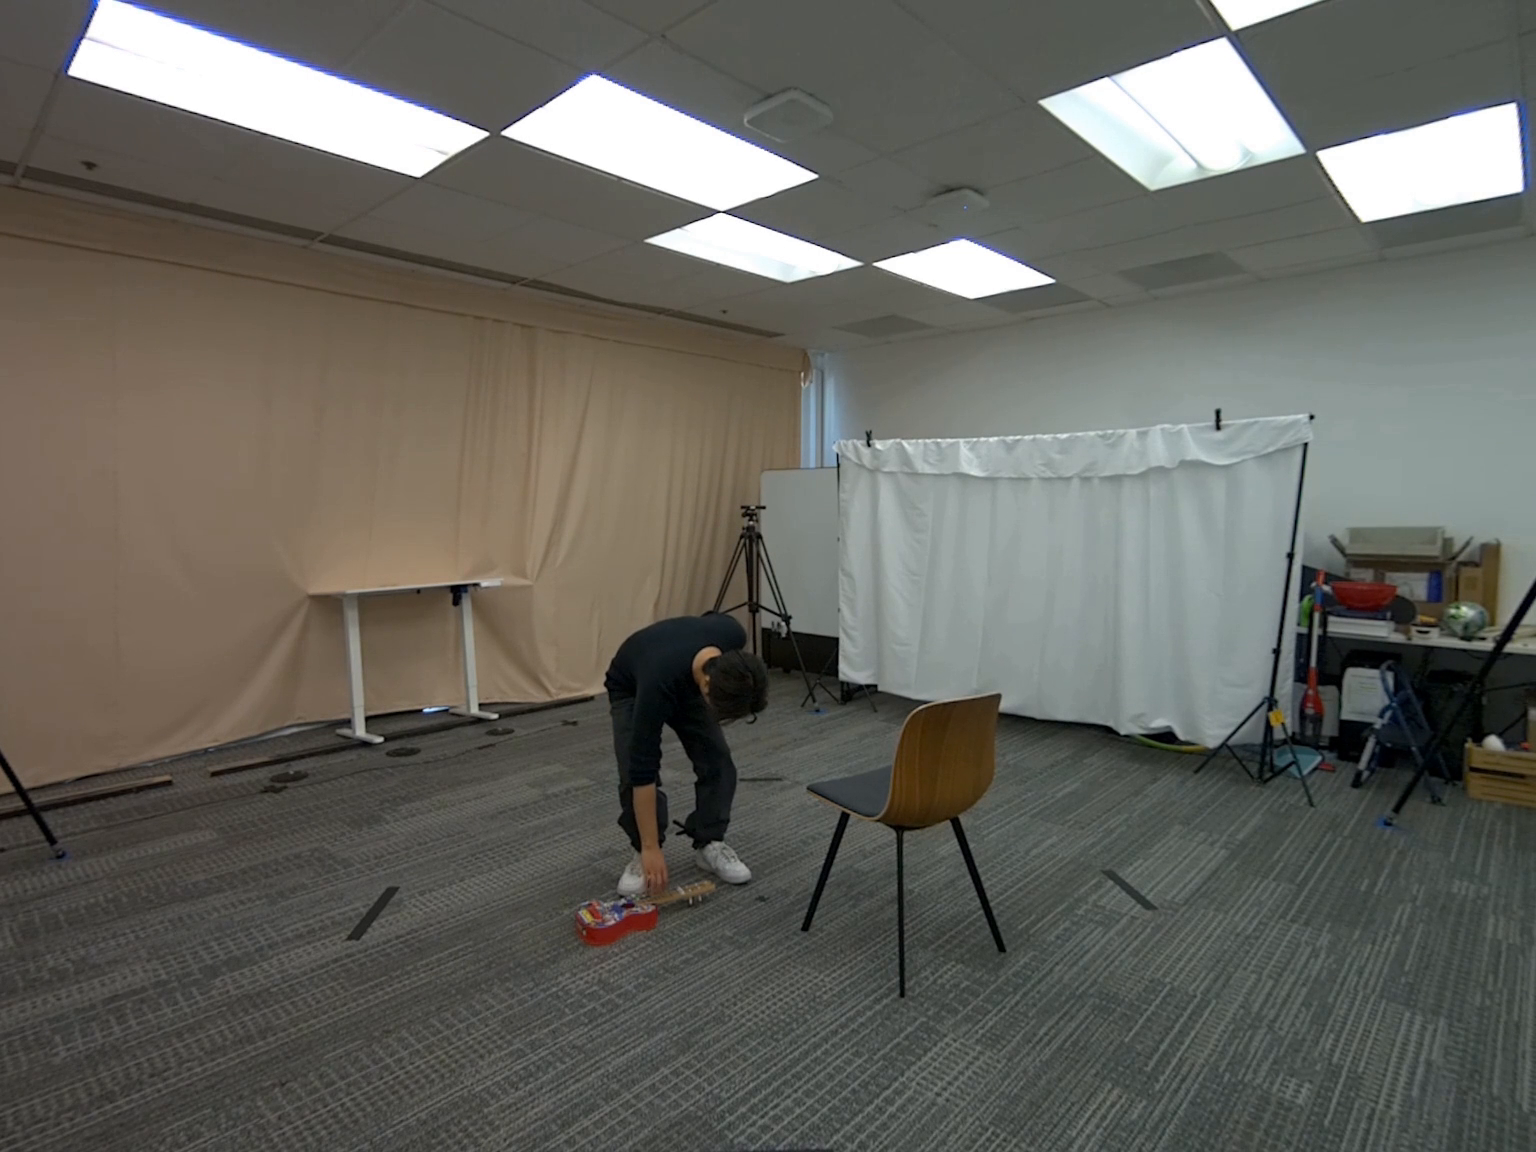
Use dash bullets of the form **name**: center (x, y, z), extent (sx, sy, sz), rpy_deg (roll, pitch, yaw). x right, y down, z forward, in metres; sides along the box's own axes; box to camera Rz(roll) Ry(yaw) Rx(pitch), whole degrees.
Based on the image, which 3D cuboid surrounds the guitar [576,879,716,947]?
- **guitar**: center (-0.395, 1.121, 2.827), extent (0.488, 0.070, 0.197), rpy_deg (-3, 6, -19)
